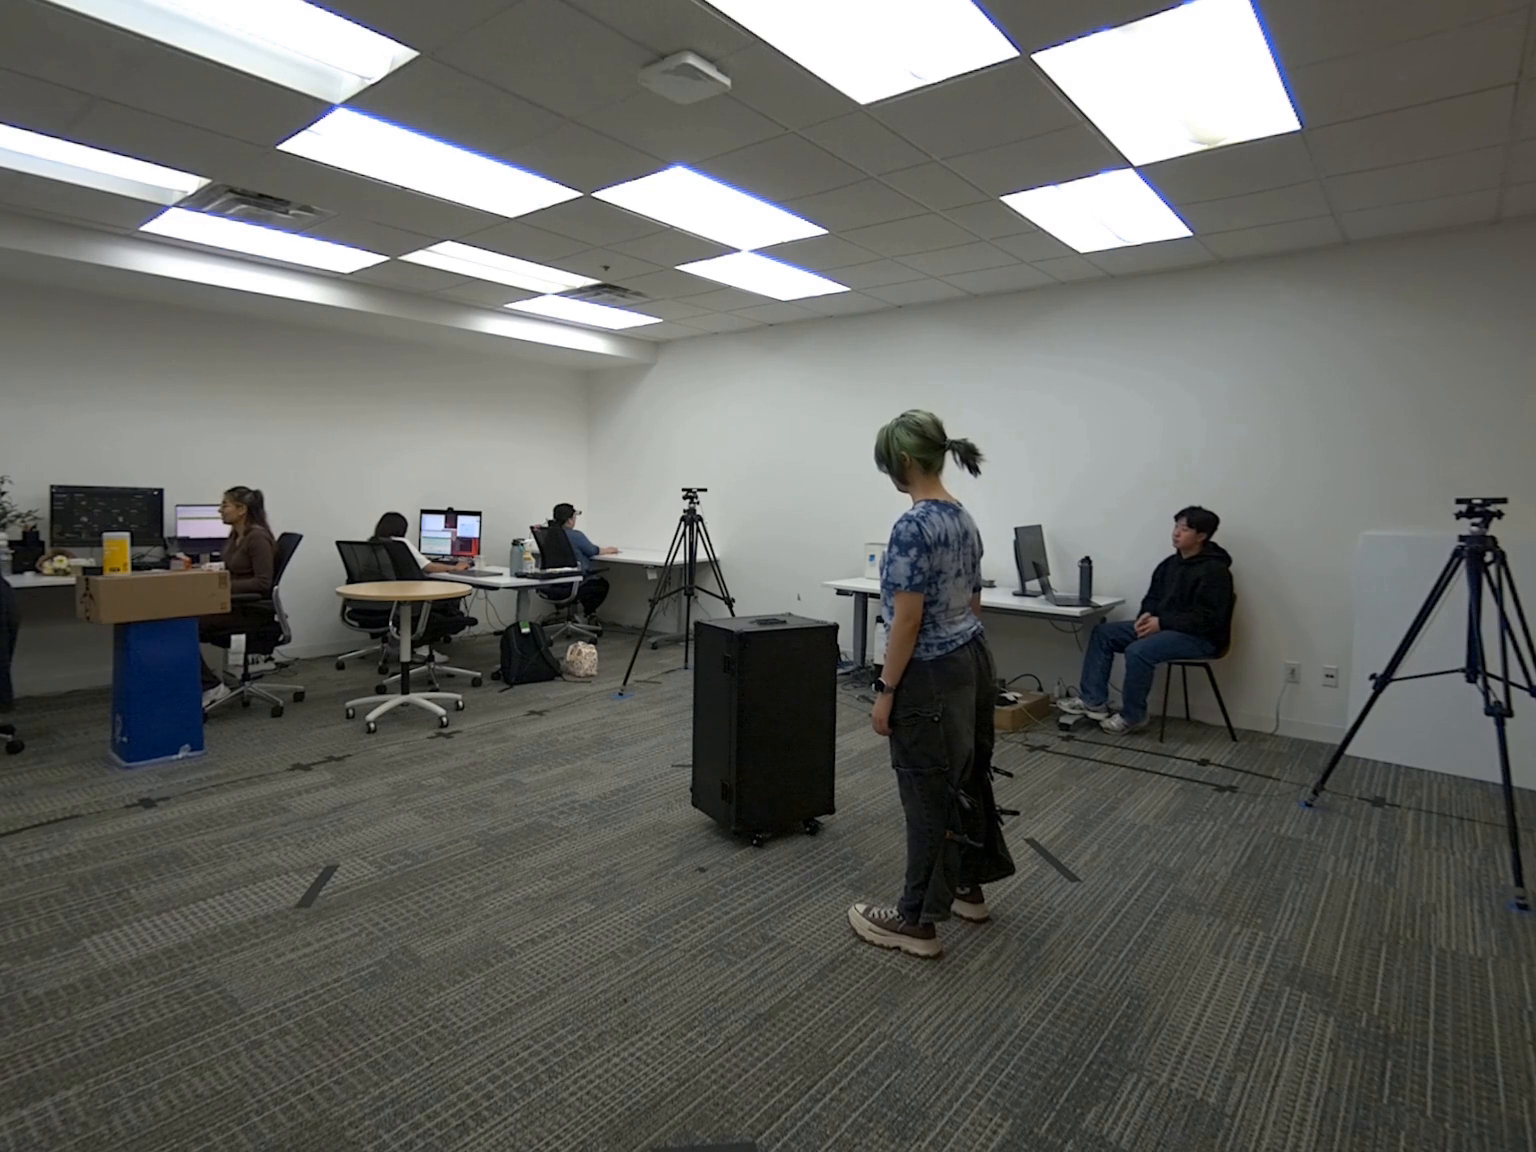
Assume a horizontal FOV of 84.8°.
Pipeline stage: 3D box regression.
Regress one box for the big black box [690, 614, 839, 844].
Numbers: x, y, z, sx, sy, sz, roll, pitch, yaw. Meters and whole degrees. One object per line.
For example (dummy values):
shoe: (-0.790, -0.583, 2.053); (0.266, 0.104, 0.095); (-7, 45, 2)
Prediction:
big black box: (-0.037, 0.609, 3.512); (0.507, 0.860, 0.408); (-1, 2, -32)
